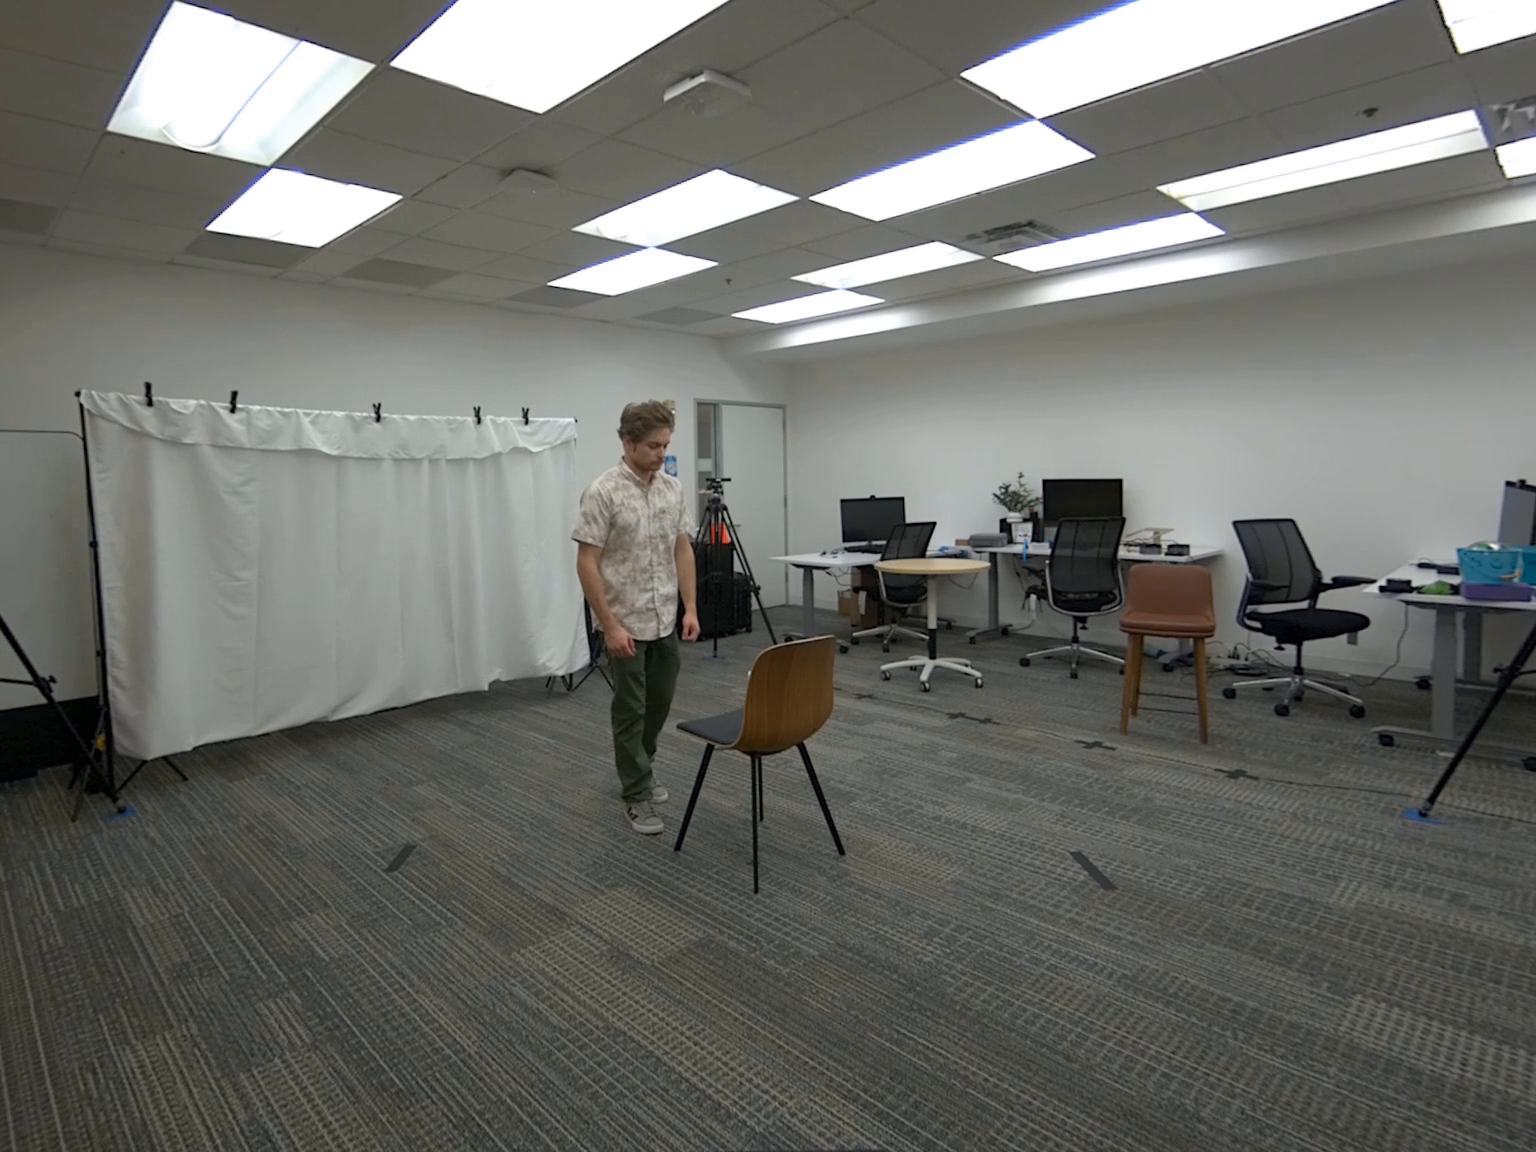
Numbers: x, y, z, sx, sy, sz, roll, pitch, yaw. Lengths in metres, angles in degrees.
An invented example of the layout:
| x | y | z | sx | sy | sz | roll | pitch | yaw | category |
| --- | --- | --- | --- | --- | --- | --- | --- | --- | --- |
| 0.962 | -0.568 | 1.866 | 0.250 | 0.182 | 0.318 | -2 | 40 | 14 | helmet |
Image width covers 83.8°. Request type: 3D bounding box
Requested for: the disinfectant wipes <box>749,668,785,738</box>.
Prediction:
| x | y | z | sx | sy | sz | roll | pitch | yaw | category |
| --- | --- | --- | --- | --- | --- | --- | --- | --- | --- |
| -0.007 | 0.461 | 3.136 | 0.118 | 0.216 | 0.119 | -1 | 8 | -2 | disinfectant wipes |
